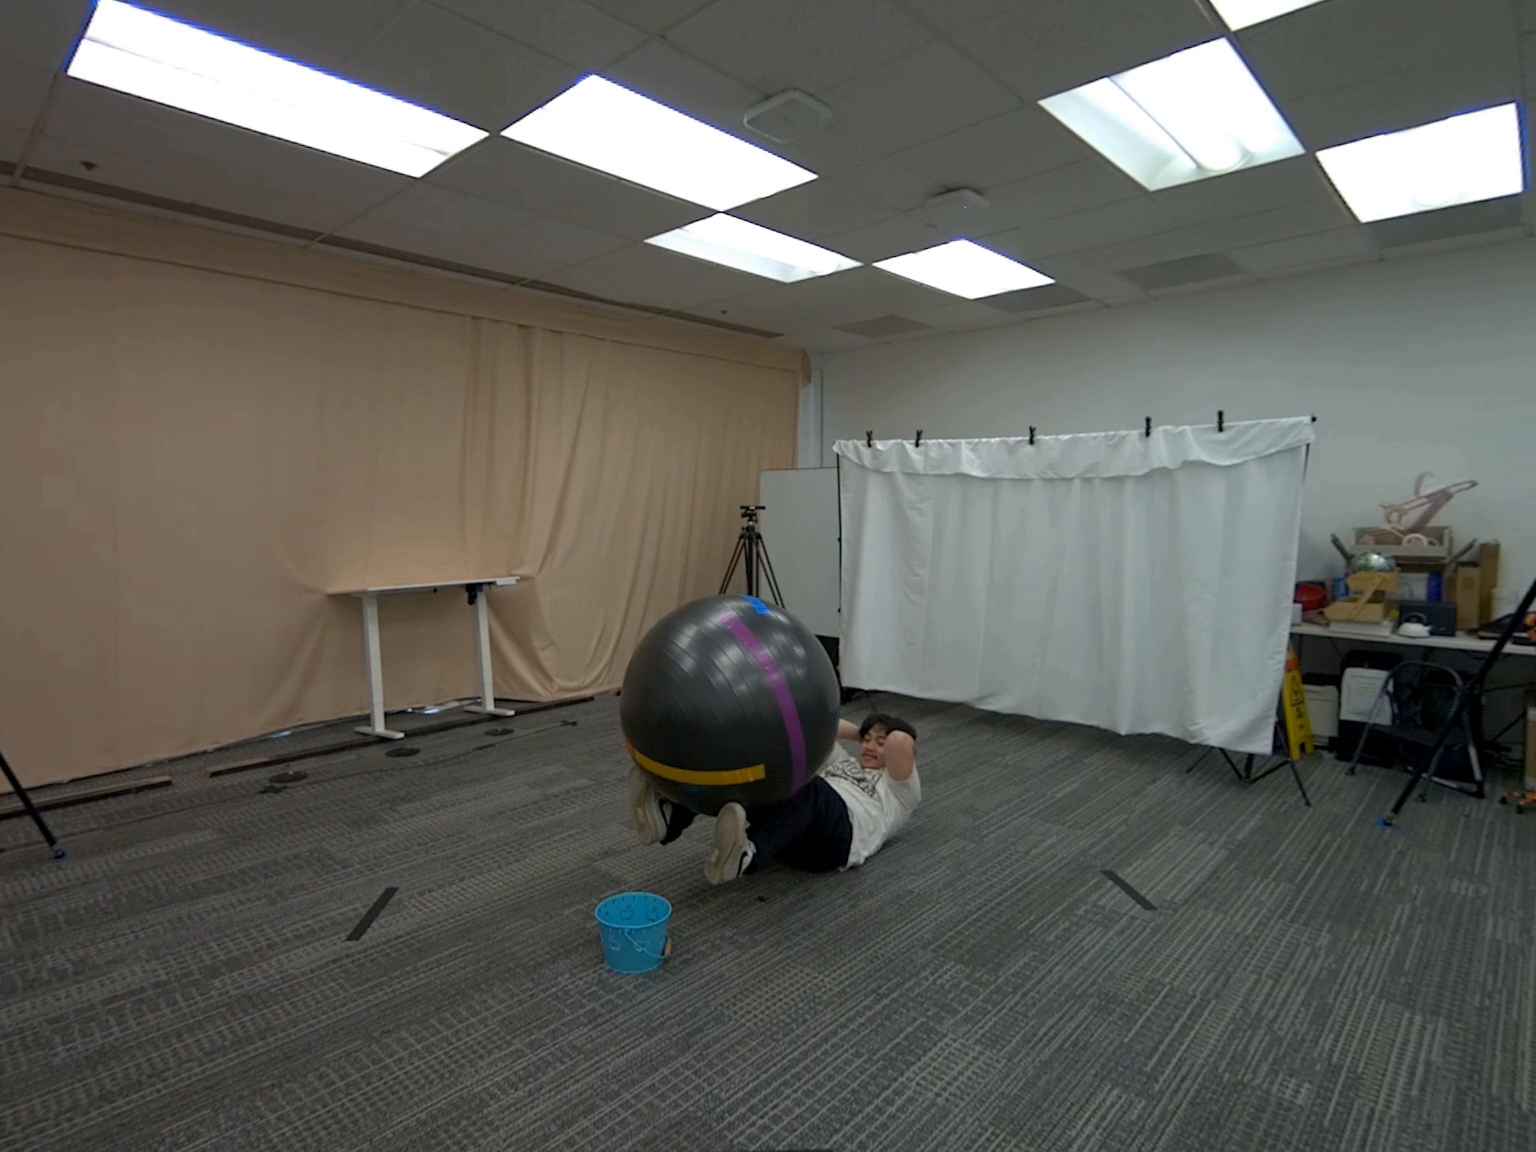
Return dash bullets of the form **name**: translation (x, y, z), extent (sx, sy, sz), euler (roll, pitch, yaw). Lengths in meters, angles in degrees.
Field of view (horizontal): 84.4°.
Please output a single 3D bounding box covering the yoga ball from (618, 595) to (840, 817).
- **yoga ball**: translation (-0.134, 0.443, 2.920), extent (0.757, 0.756, 0.760), euler (0, 4, -2)
